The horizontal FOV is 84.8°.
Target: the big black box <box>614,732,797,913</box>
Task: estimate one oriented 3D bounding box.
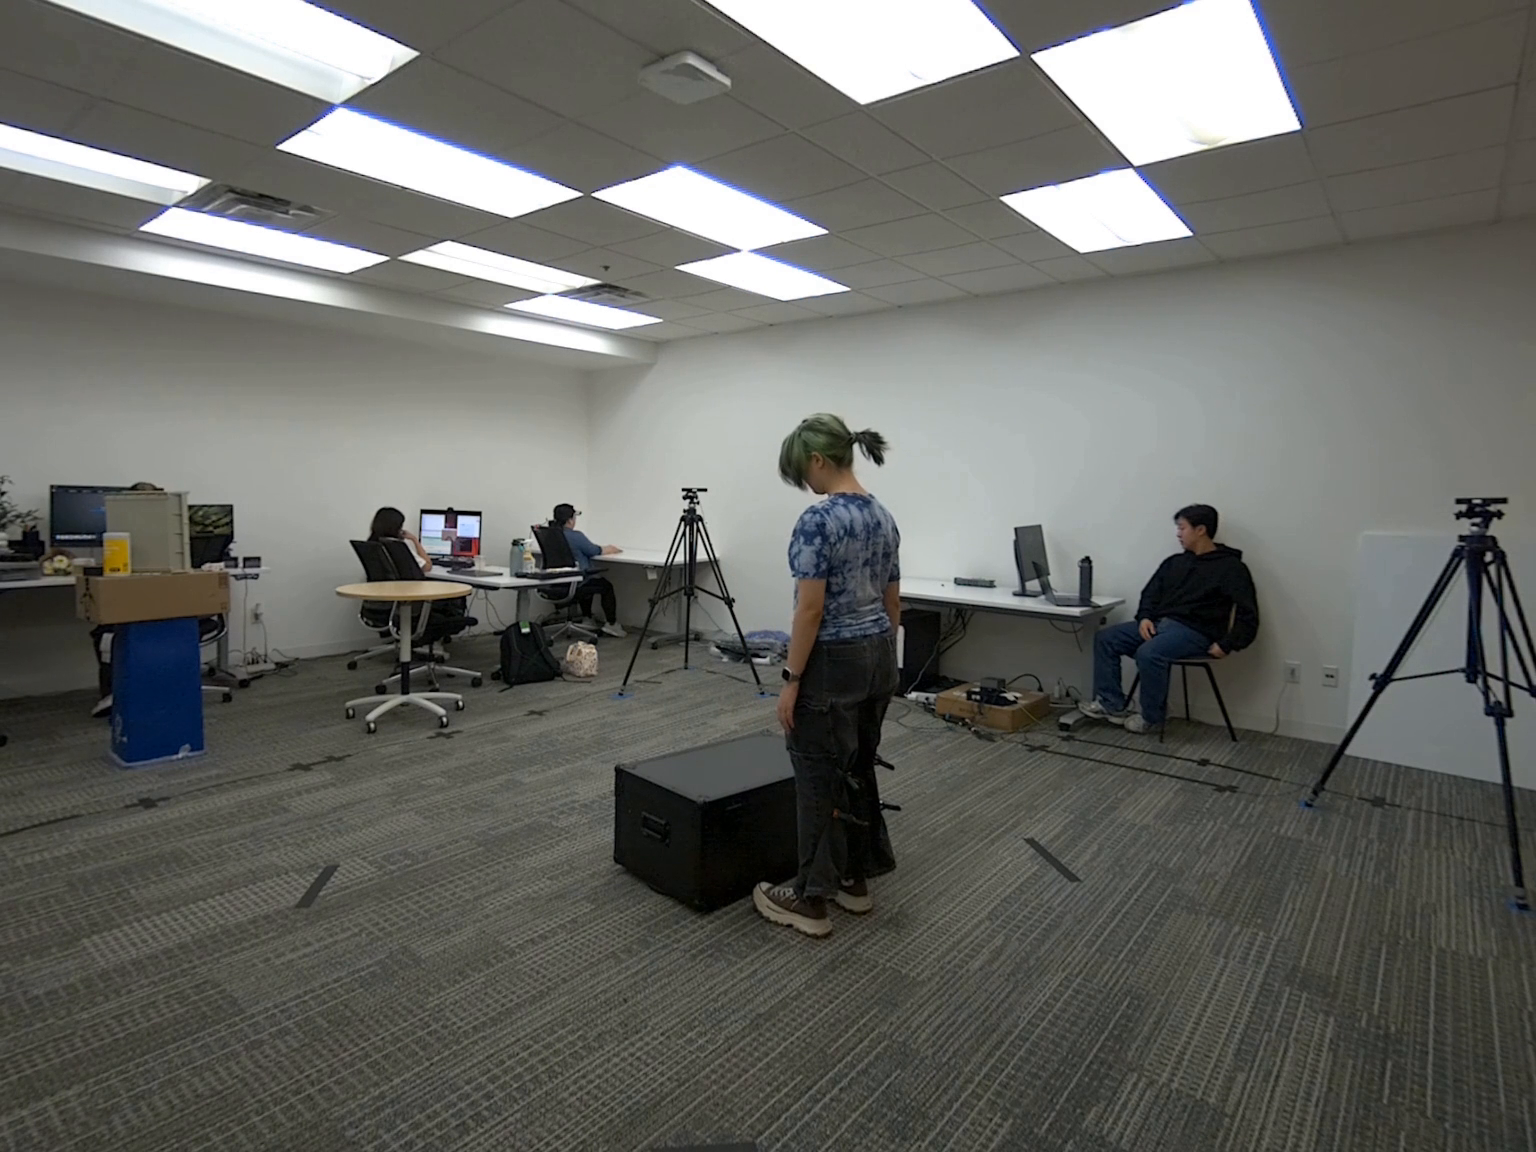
[{"bbox_3d":[-0.105,0.874,3.194,0.836,0.394,0.539,-5,8,-44],"label":"big black box"}]
